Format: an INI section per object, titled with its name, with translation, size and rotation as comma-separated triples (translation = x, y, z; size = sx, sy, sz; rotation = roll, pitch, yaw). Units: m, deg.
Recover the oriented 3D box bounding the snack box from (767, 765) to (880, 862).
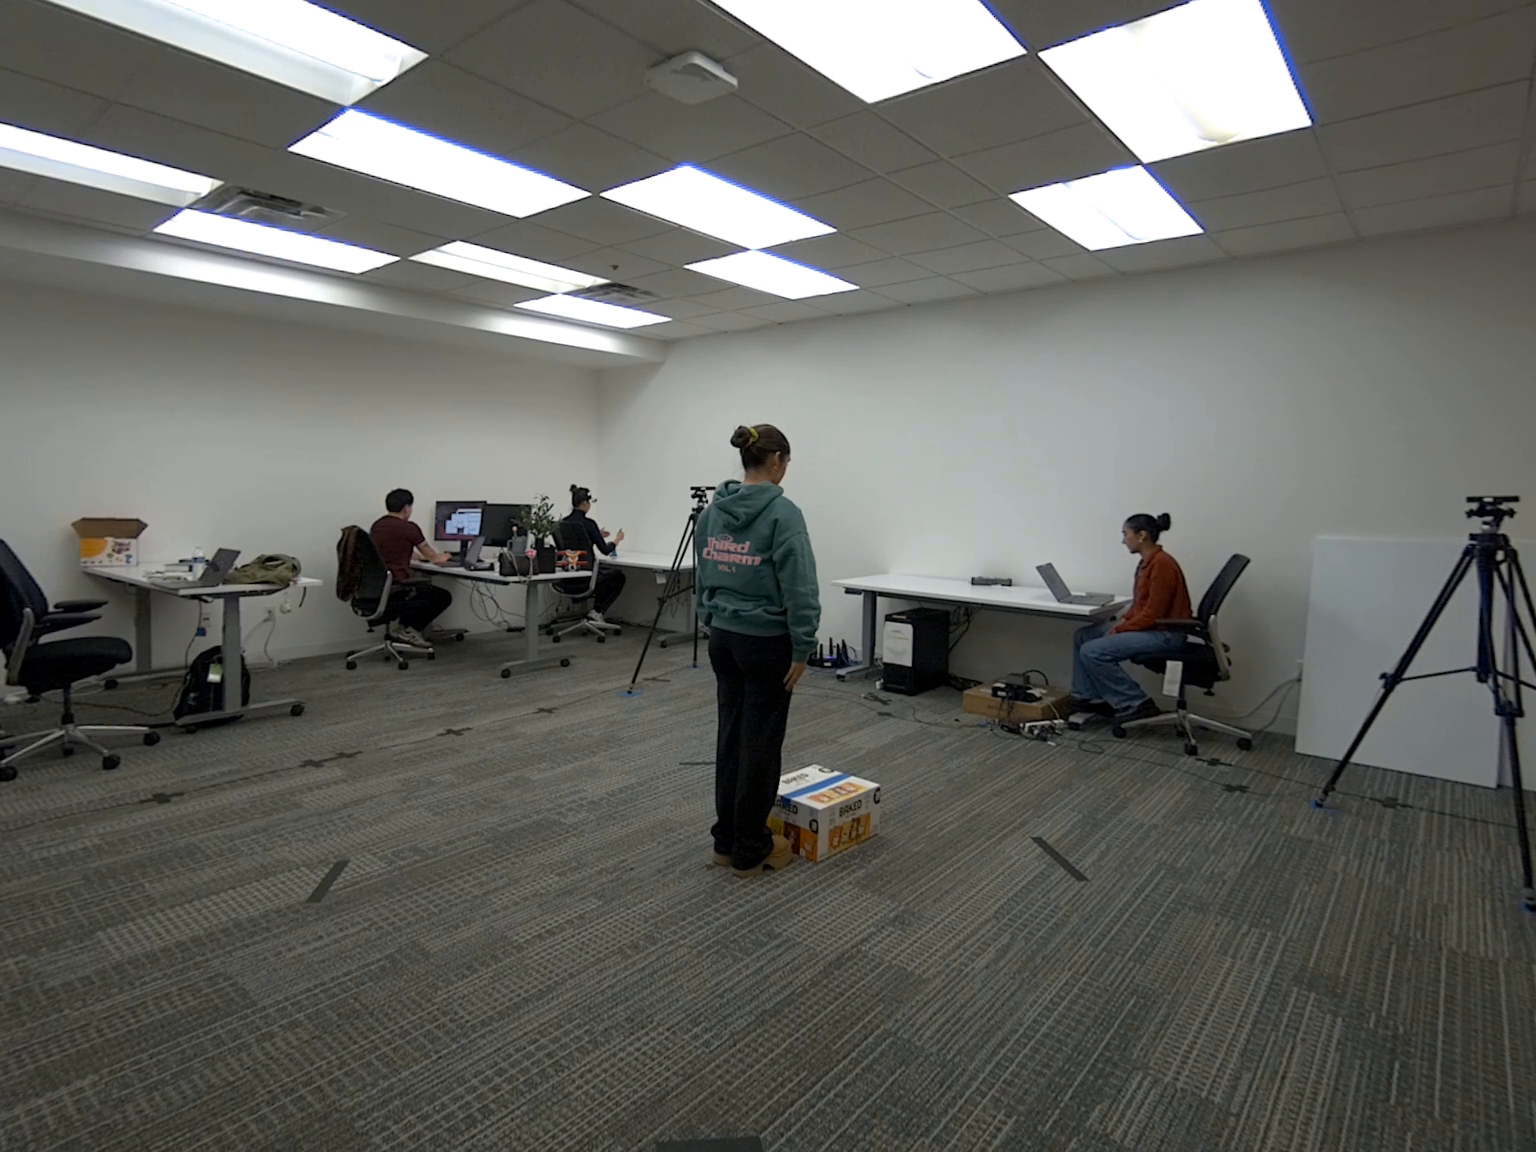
[snack box]
translation = 0.190, 0.941, 3.427
size = 0.352, 0.205, 0.393
rotation = 6, 7, 43
